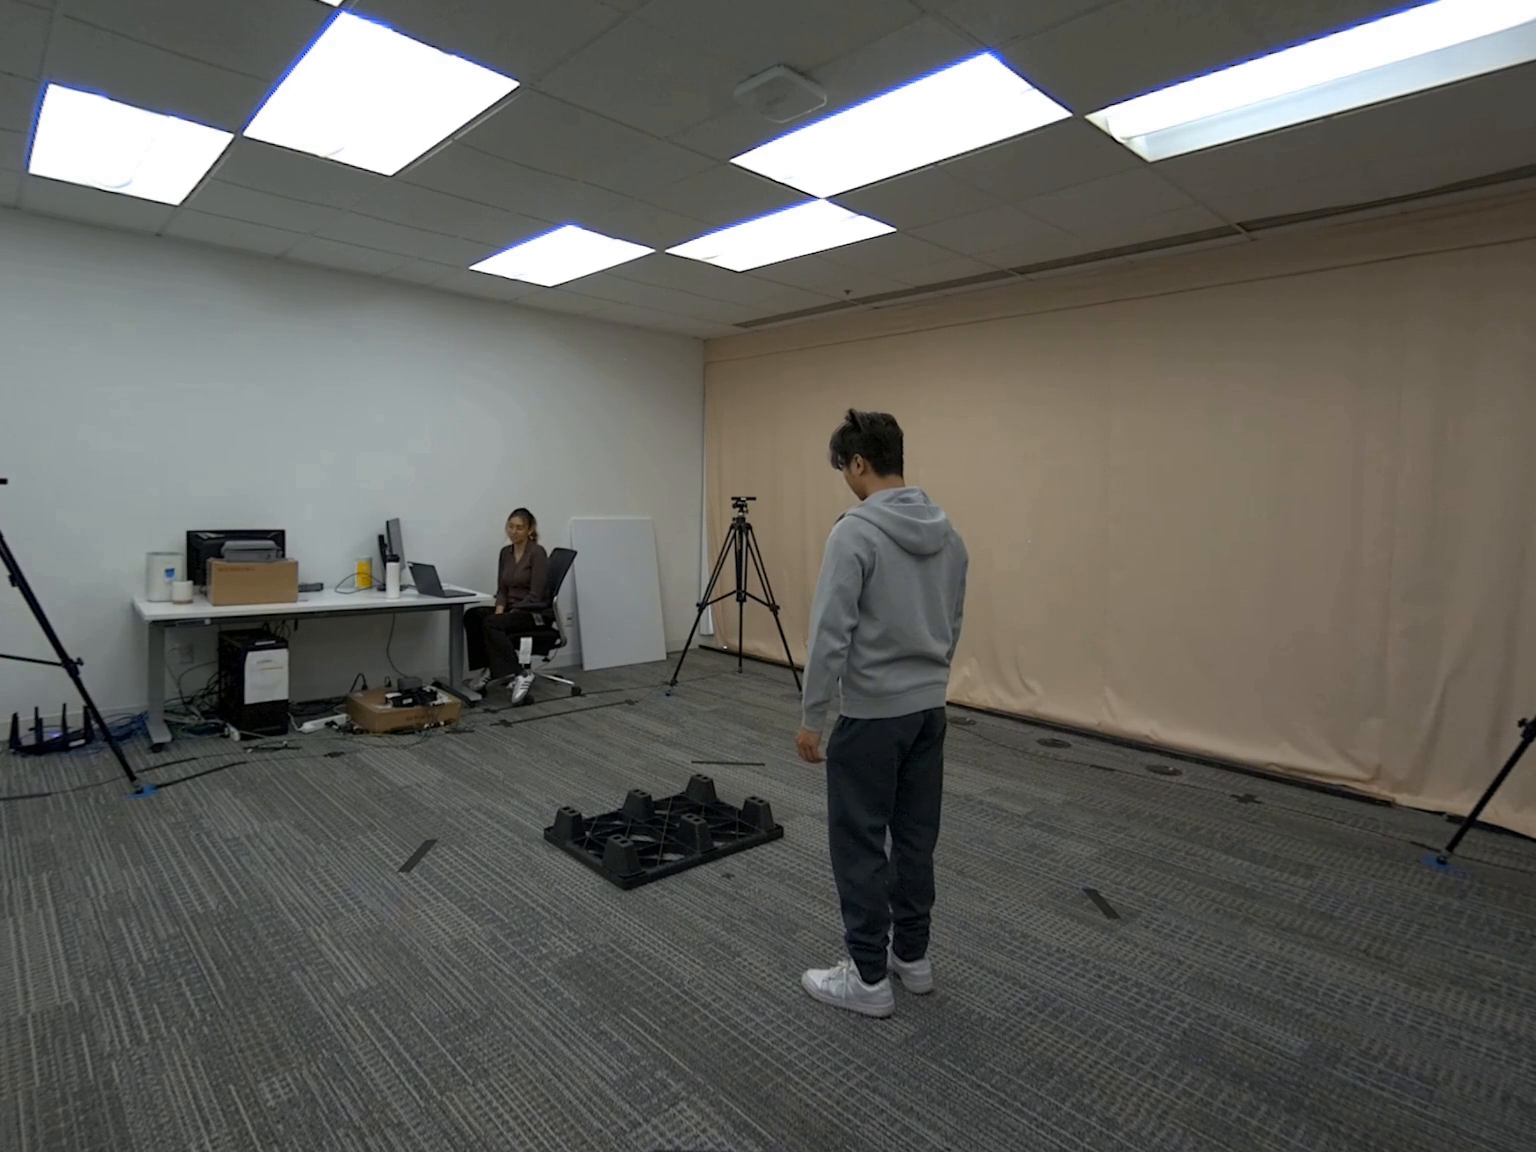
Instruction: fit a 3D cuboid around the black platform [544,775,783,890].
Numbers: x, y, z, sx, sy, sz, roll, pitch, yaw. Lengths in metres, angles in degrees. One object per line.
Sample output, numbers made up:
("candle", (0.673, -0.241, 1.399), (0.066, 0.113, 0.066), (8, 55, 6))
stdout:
("black platform", (-0.427, 1.005, 3.436), (0.787, 0.143, 0.620), (-4, 7, -42))
